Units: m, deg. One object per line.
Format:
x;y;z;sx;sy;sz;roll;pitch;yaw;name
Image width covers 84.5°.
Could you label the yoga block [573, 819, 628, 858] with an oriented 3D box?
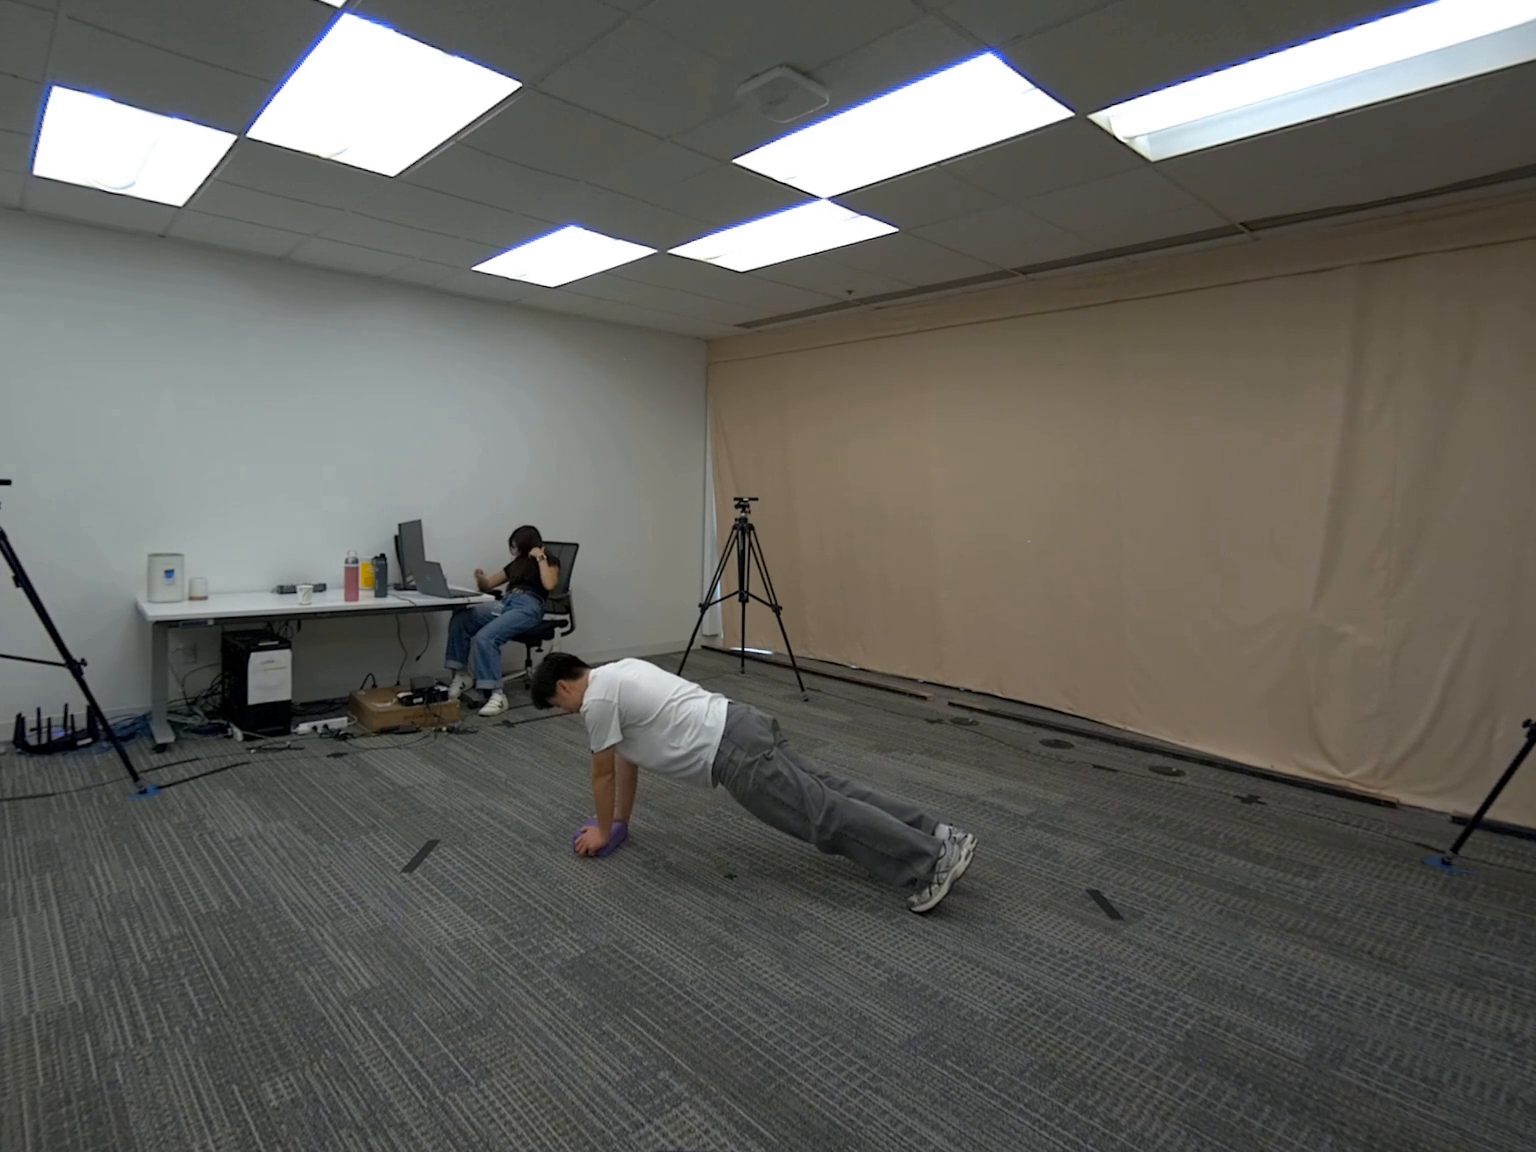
-0.671;1.034;3.371;0.151;0.076;0.227;3;5;14;yoga block
